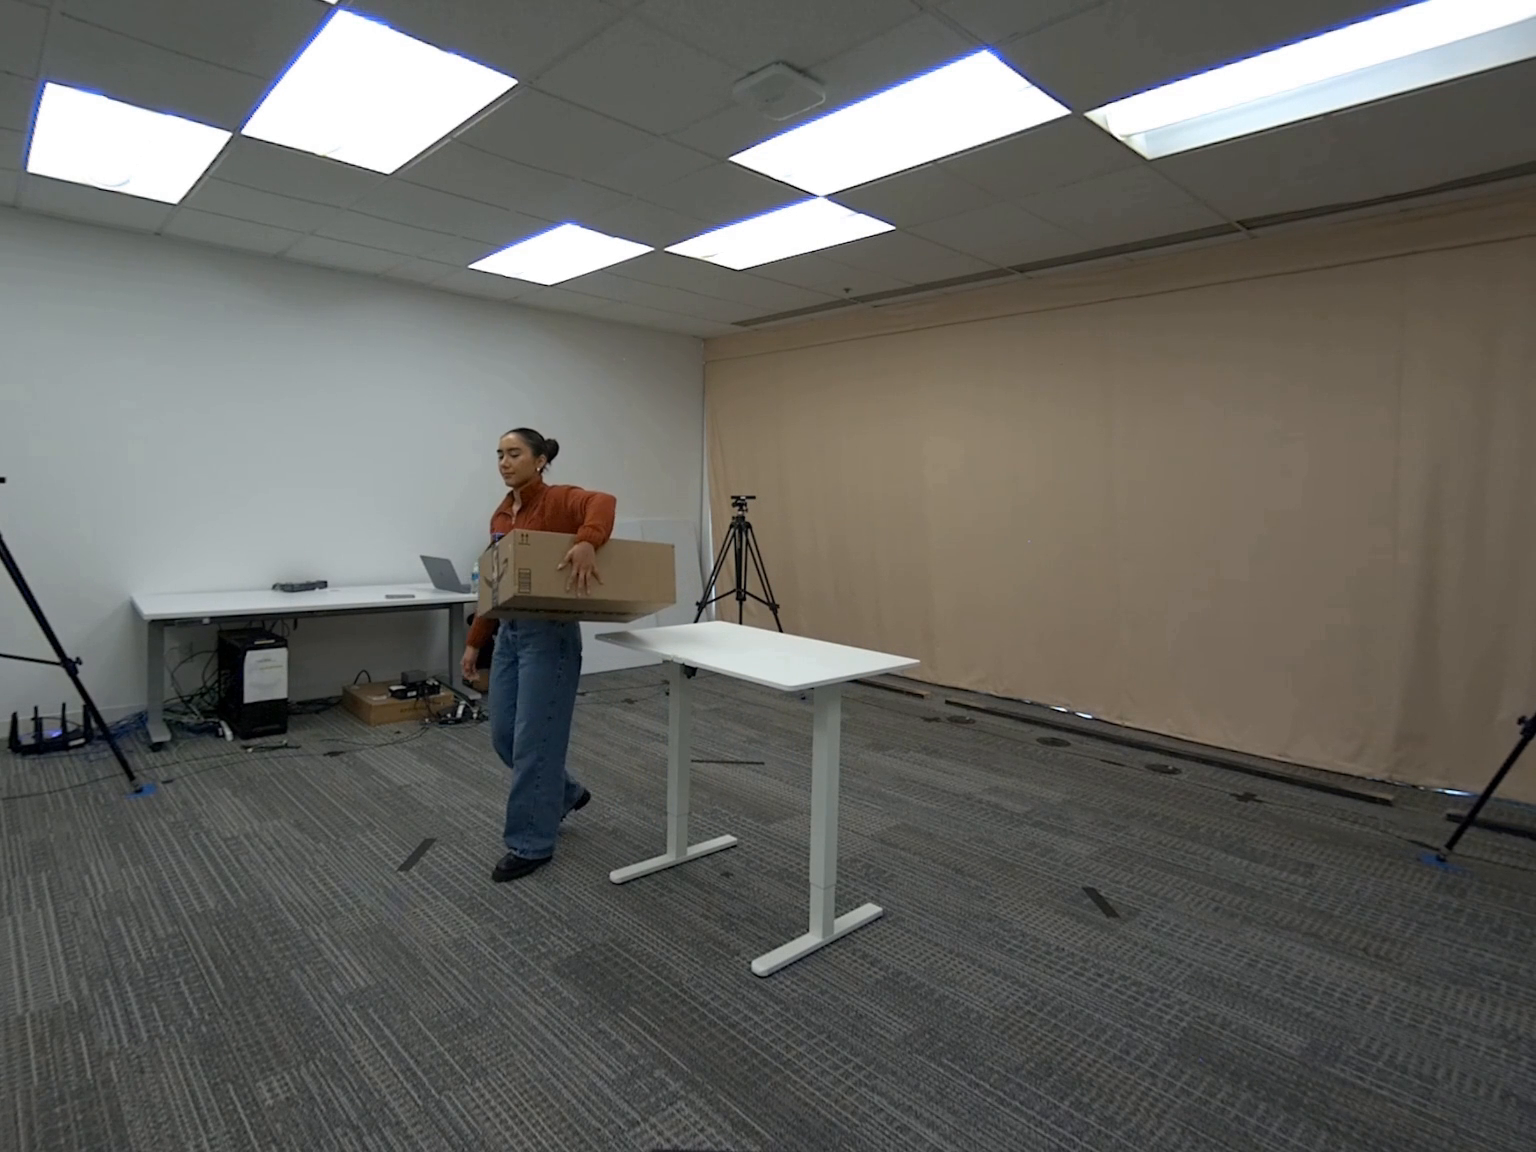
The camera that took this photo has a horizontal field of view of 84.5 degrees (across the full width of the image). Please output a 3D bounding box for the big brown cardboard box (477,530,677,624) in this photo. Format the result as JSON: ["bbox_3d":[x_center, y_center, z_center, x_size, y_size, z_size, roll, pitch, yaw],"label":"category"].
[{"bbox_3d":[-0.670,0.017,2.907,0.575,0.235,0.423,5,-15,-33],"label":"big brown cardboard box"}]
